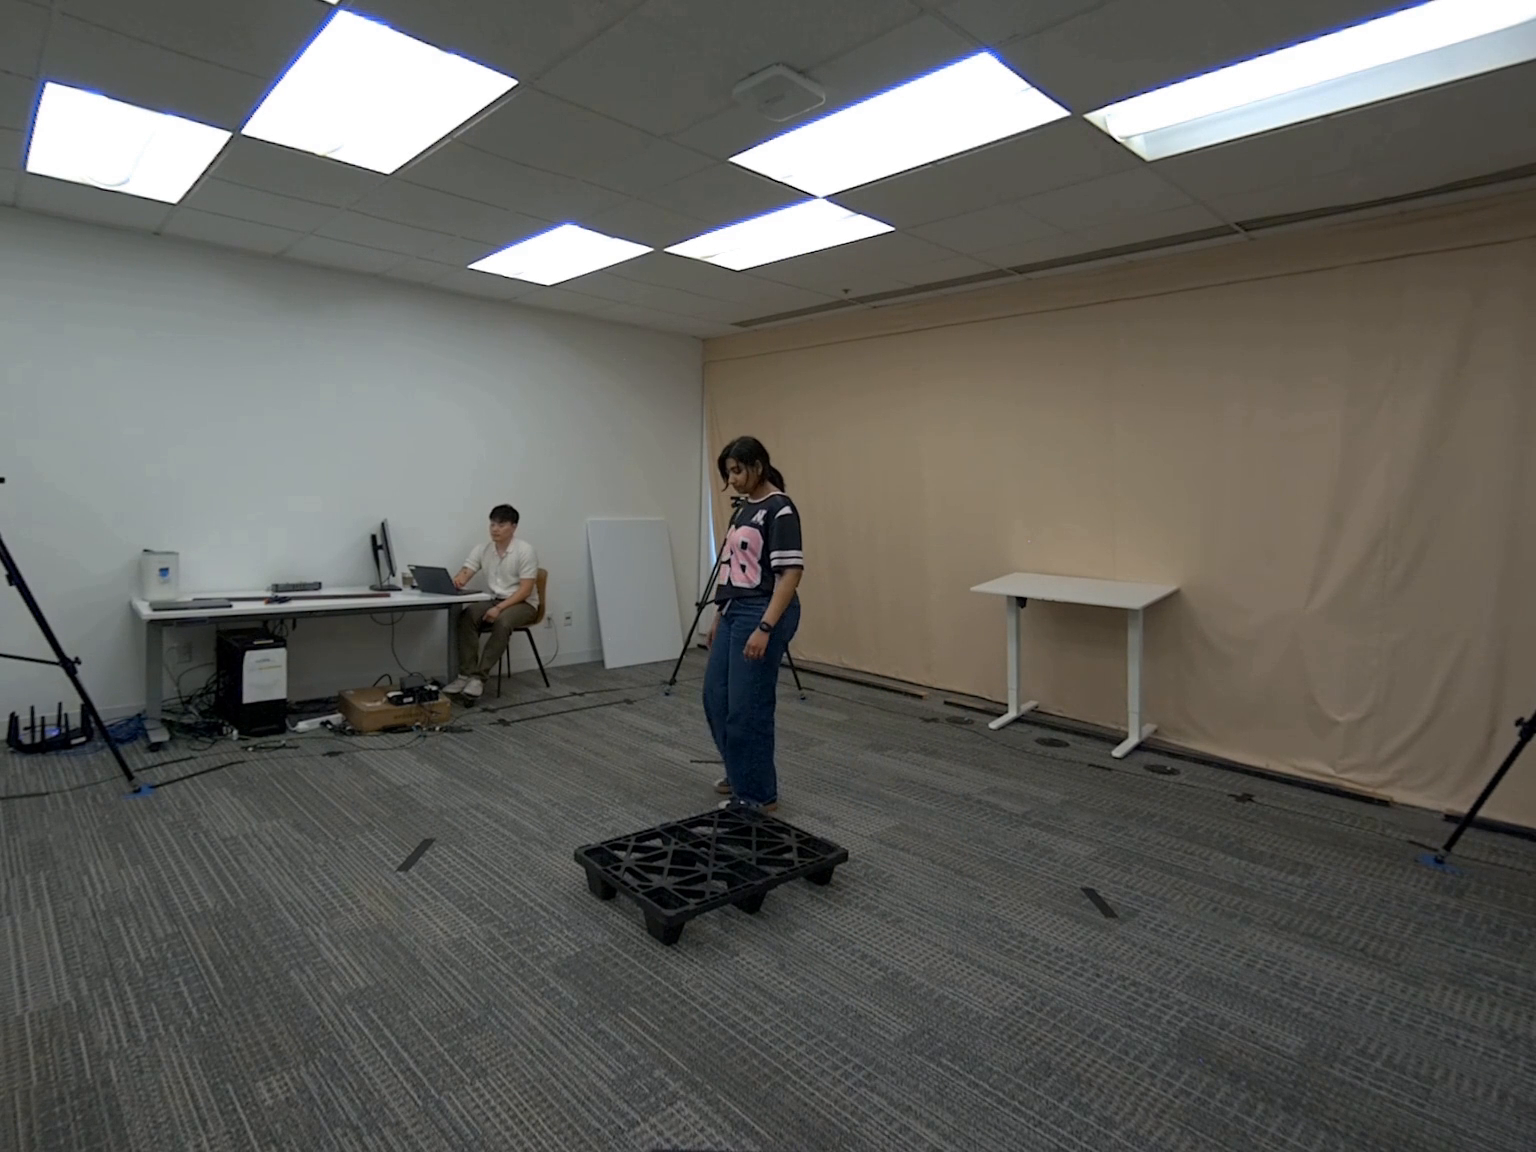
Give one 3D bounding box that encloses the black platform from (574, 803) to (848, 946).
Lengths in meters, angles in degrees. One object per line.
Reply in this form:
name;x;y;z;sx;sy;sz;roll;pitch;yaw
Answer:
black platform;-0.213;1.047;3.005;0.787;0.143;0.620;-3;6;-40
